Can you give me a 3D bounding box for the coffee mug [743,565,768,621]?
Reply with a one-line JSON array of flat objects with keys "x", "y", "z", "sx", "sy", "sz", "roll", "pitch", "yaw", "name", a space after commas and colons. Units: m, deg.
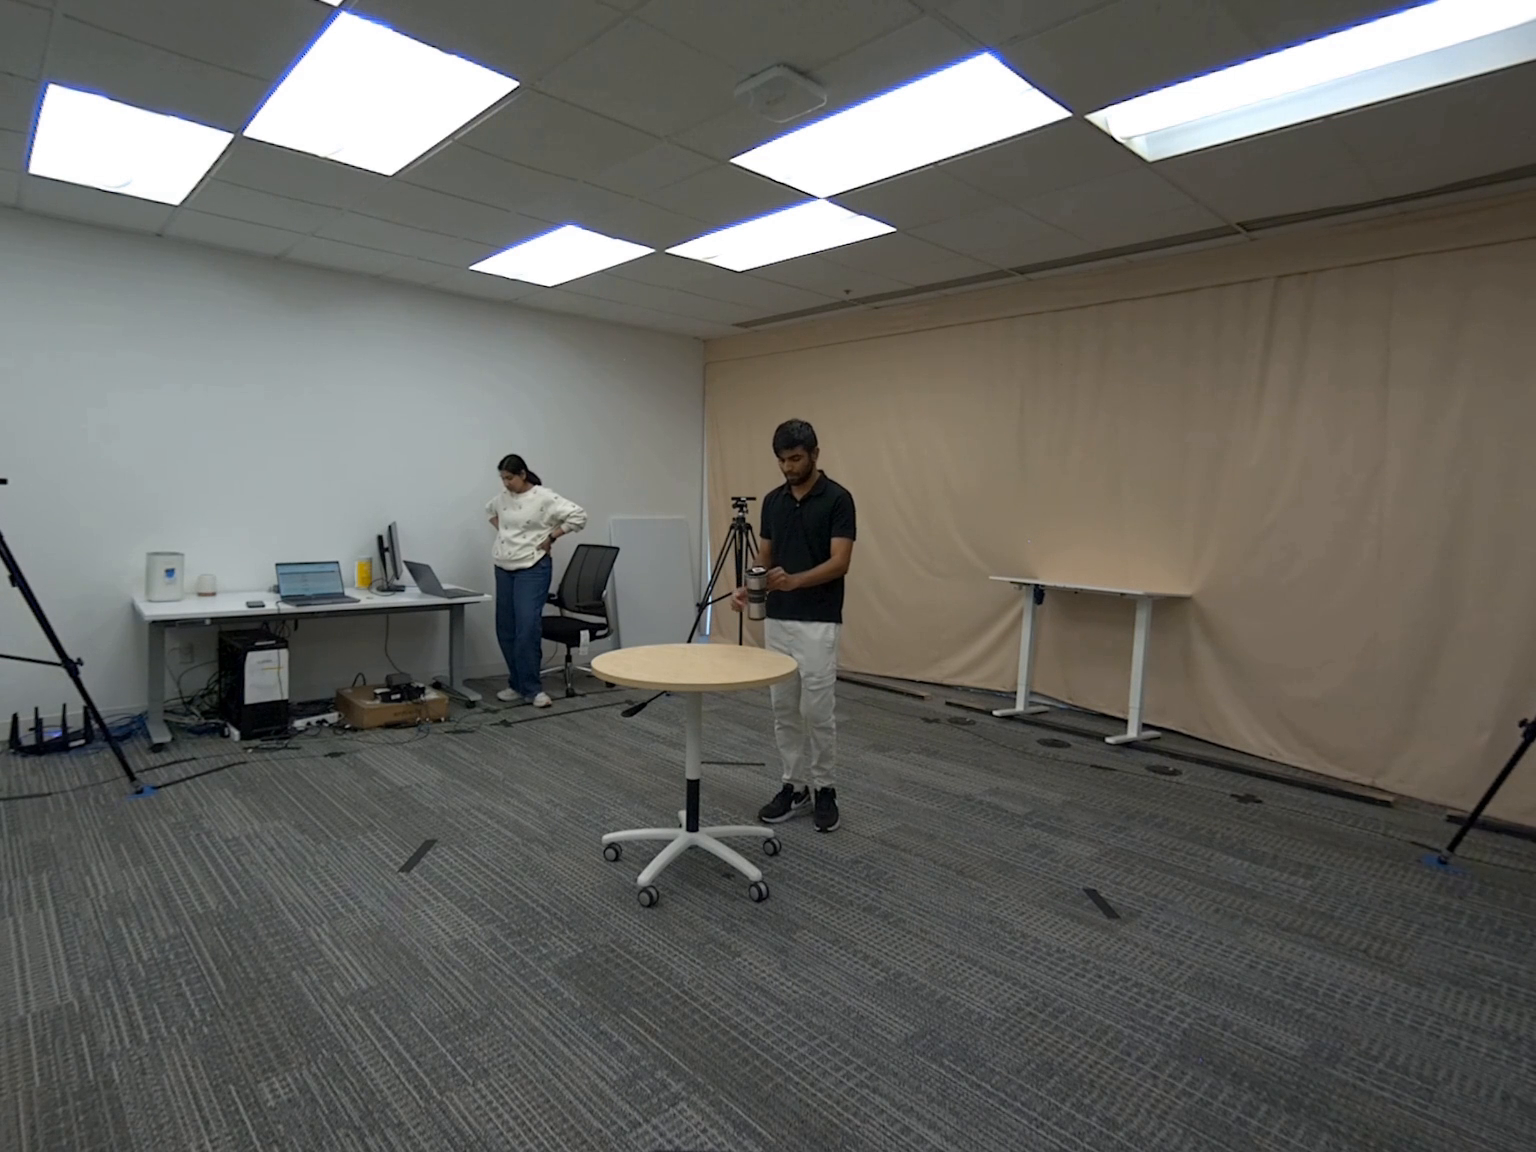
[{"x": -0.049, "y": 0.065, "z": 3.301, "sx": 0.089, "sy": 0.200, "sz": 0.122, "roll": 0, "pitch": 18, "yaw": 16, "name": "coffee mug"}]
